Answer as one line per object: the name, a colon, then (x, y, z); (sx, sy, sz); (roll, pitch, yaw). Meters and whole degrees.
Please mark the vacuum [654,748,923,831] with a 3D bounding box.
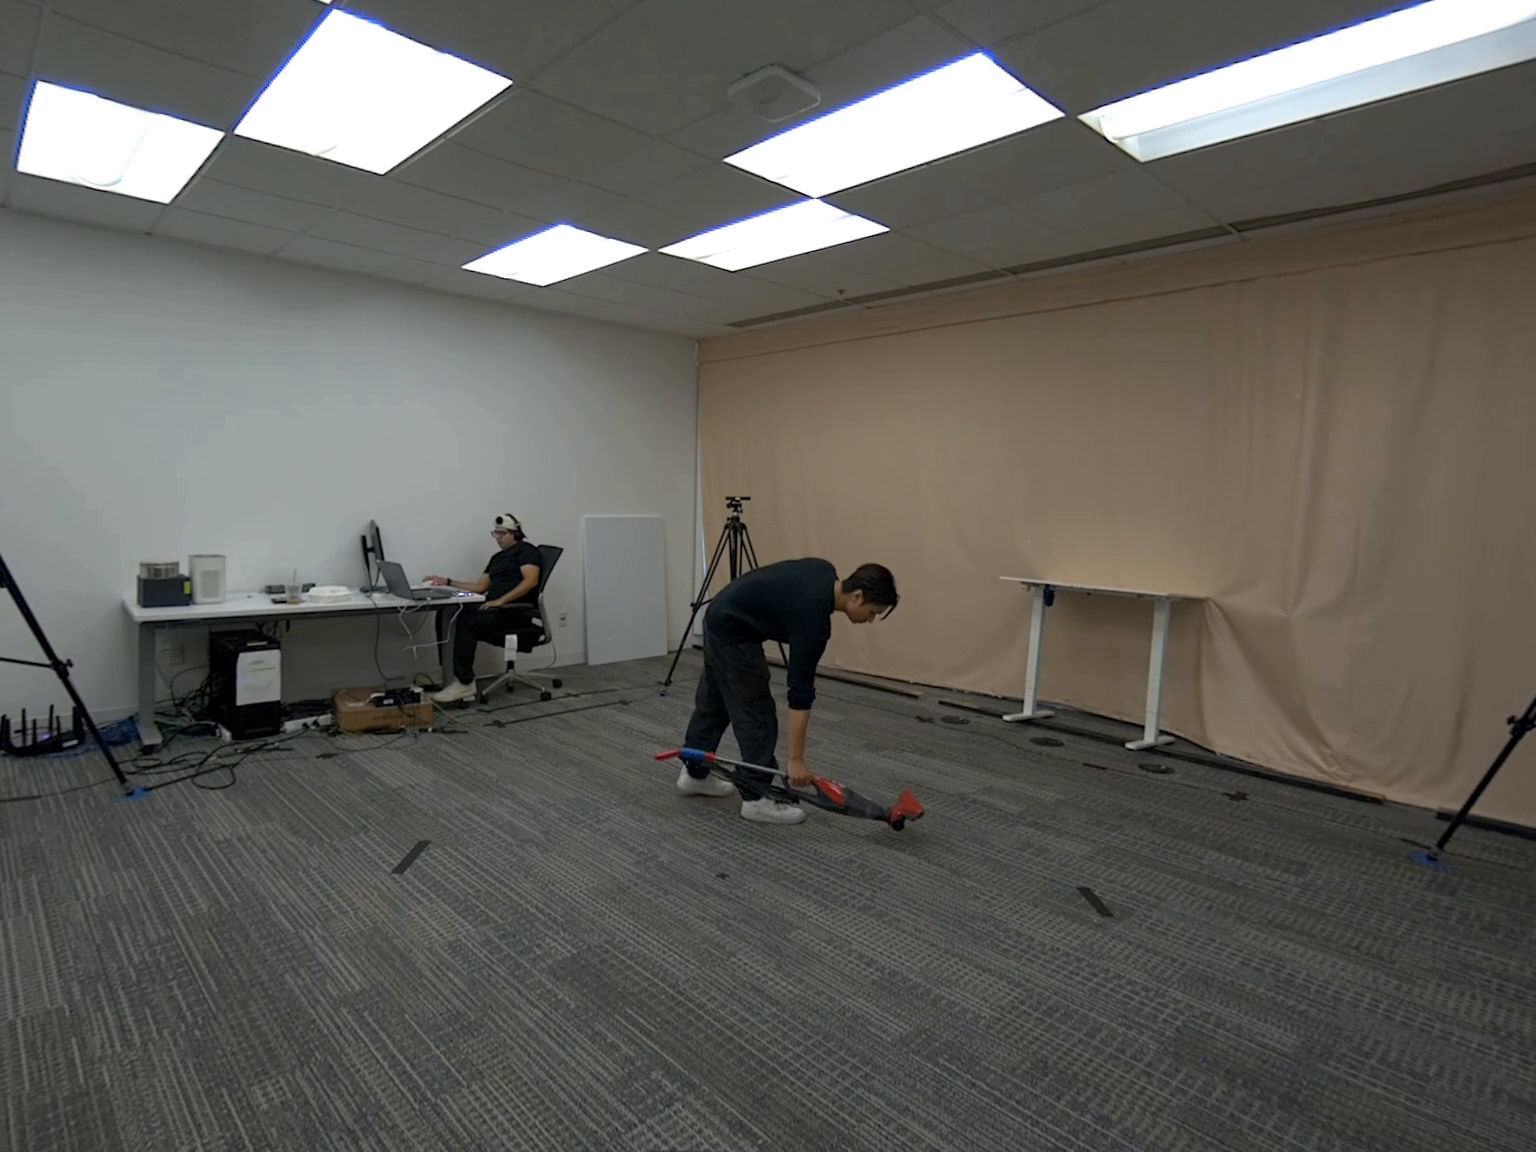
vacuum: (0.040, 0.847, 3.438); (1.047, 0.144, 0.253); (13, 3, -2)
